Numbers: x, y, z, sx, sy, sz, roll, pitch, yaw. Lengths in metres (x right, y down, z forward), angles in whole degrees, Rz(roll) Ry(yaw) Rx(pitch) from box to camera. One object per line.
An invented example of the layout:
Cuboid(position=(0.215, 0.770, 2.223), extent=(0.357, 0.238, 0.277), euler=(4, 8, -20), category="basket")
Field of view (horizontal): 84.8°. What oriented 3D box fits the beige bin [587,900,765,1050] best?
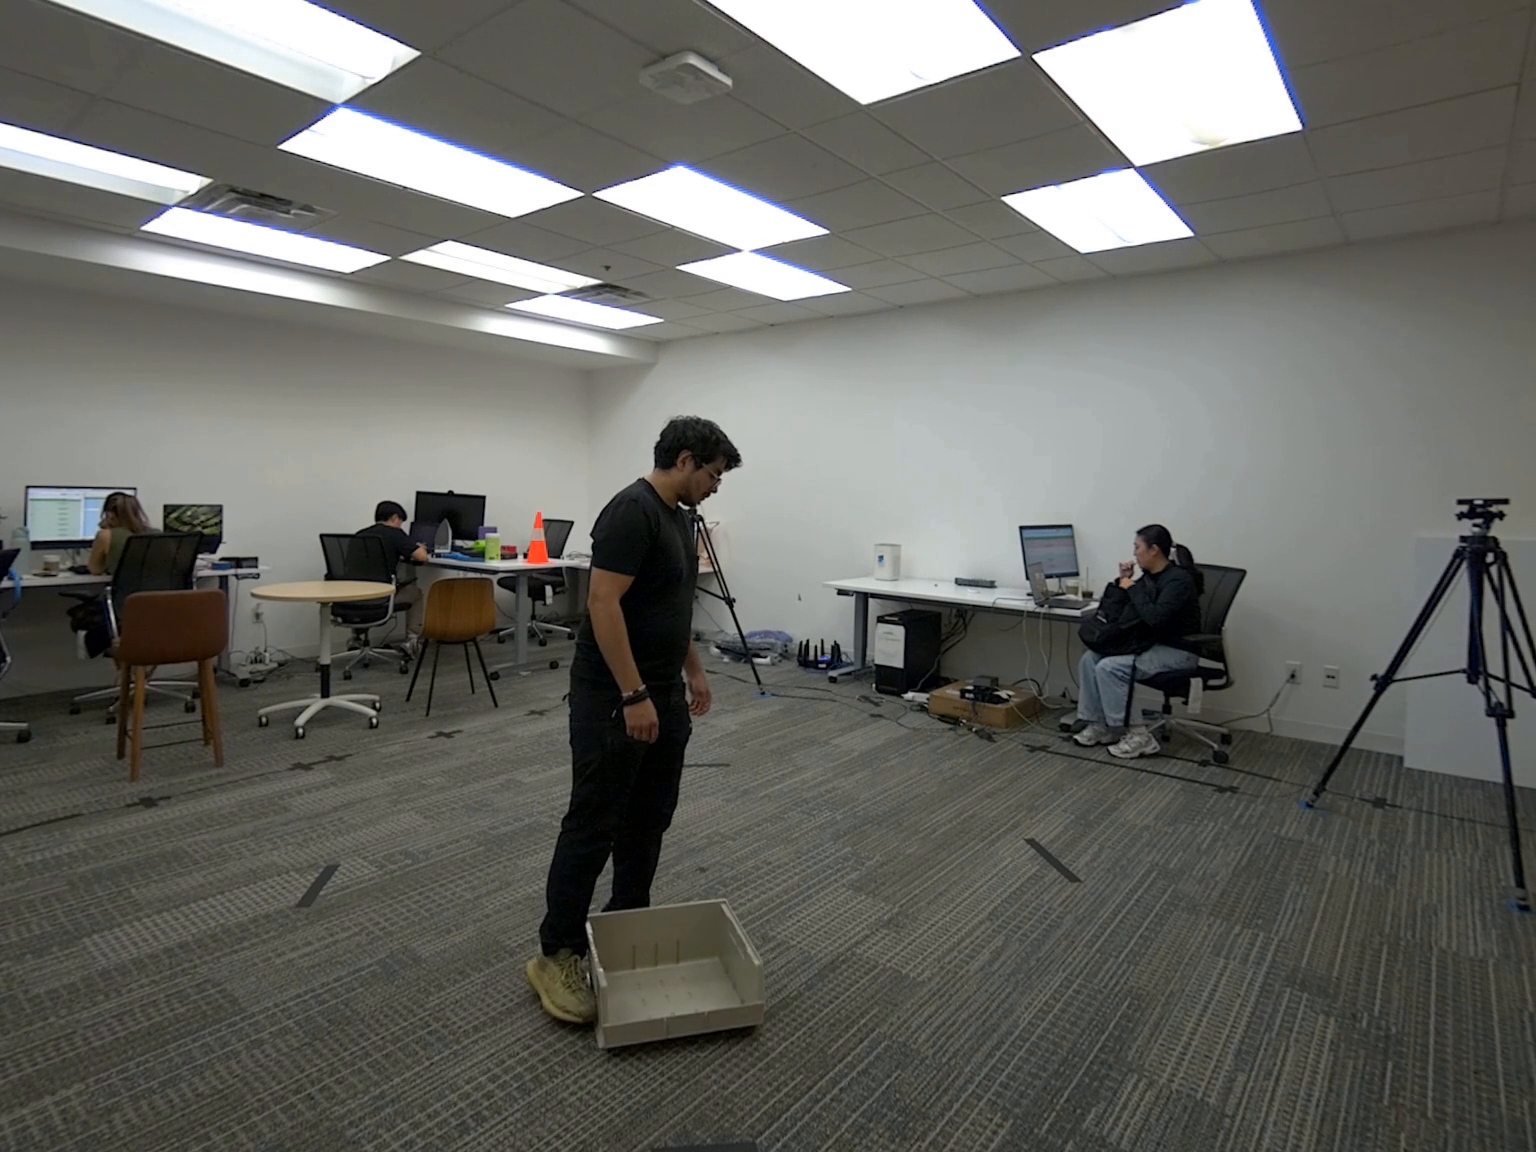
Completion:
Cuboid(position=(-0.261, 1.060, 2.281), extent=(0.415, 0.188, 0.385), euler=(-1, 5, -17), category="beige bin")
